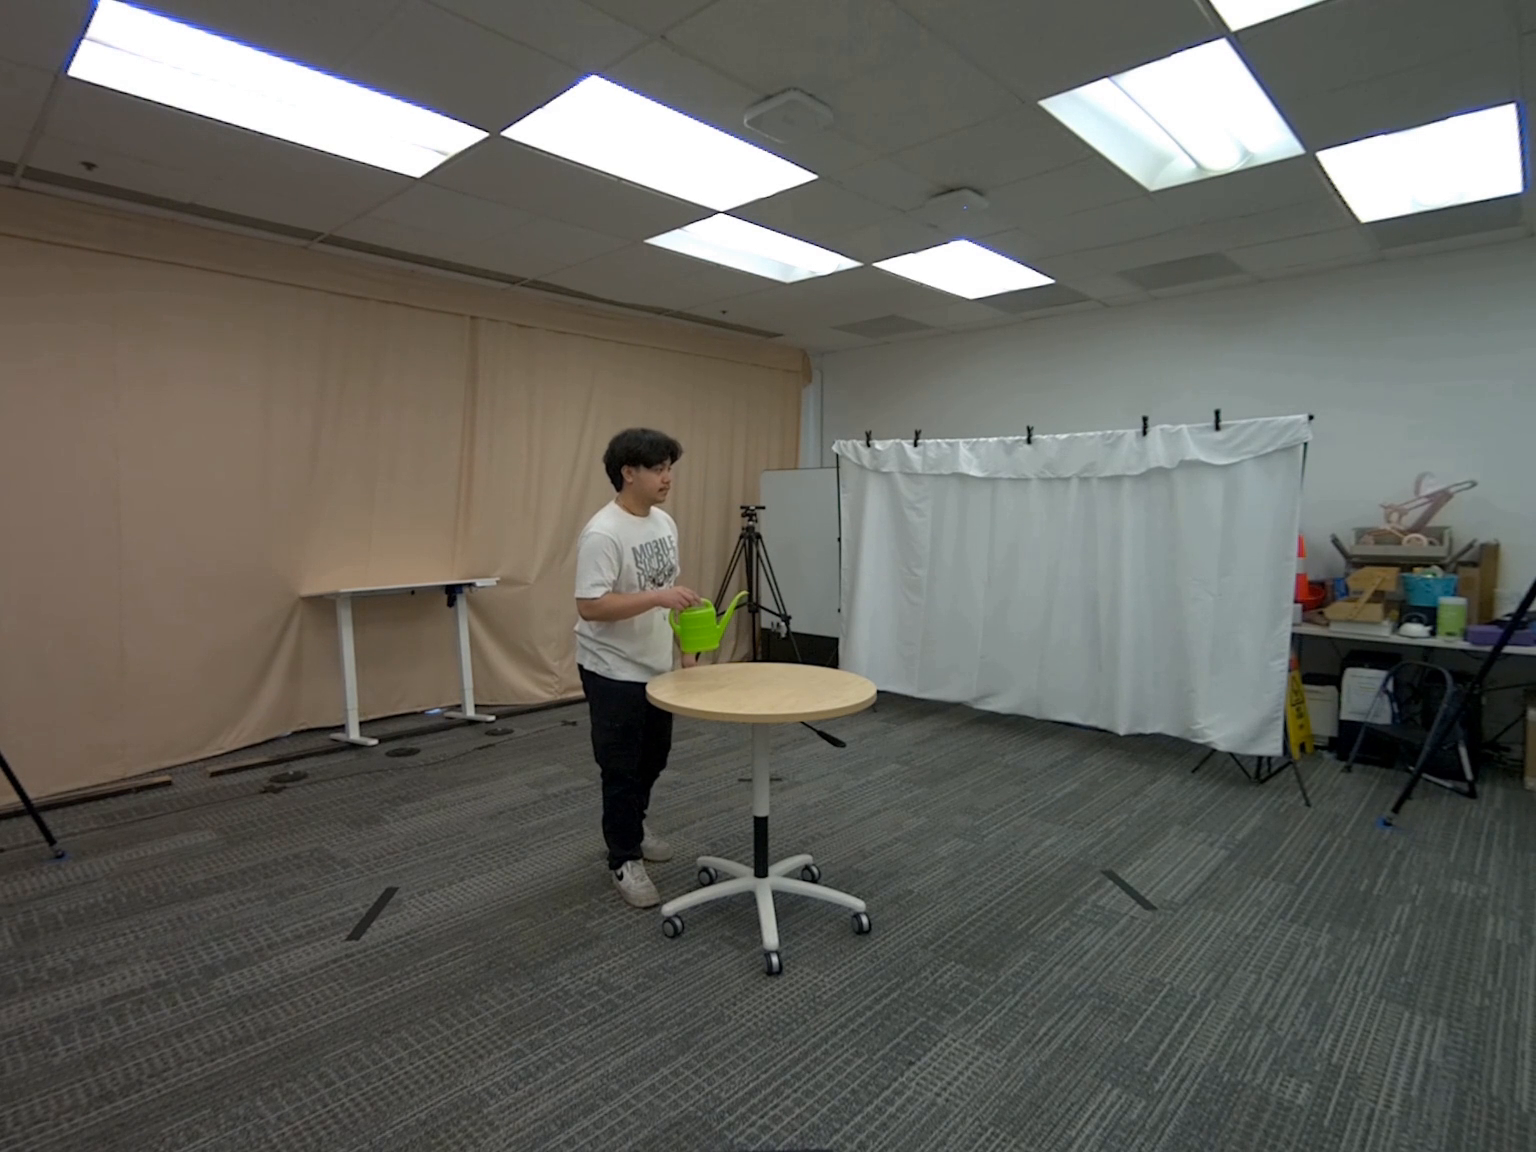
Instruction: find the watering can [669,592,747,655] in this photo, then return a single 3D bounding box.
[{"bbox_3d":[-0.194,0.163,2.825,0.280,0.176,0.097,-4,3,7],"label":"watering can"}]
